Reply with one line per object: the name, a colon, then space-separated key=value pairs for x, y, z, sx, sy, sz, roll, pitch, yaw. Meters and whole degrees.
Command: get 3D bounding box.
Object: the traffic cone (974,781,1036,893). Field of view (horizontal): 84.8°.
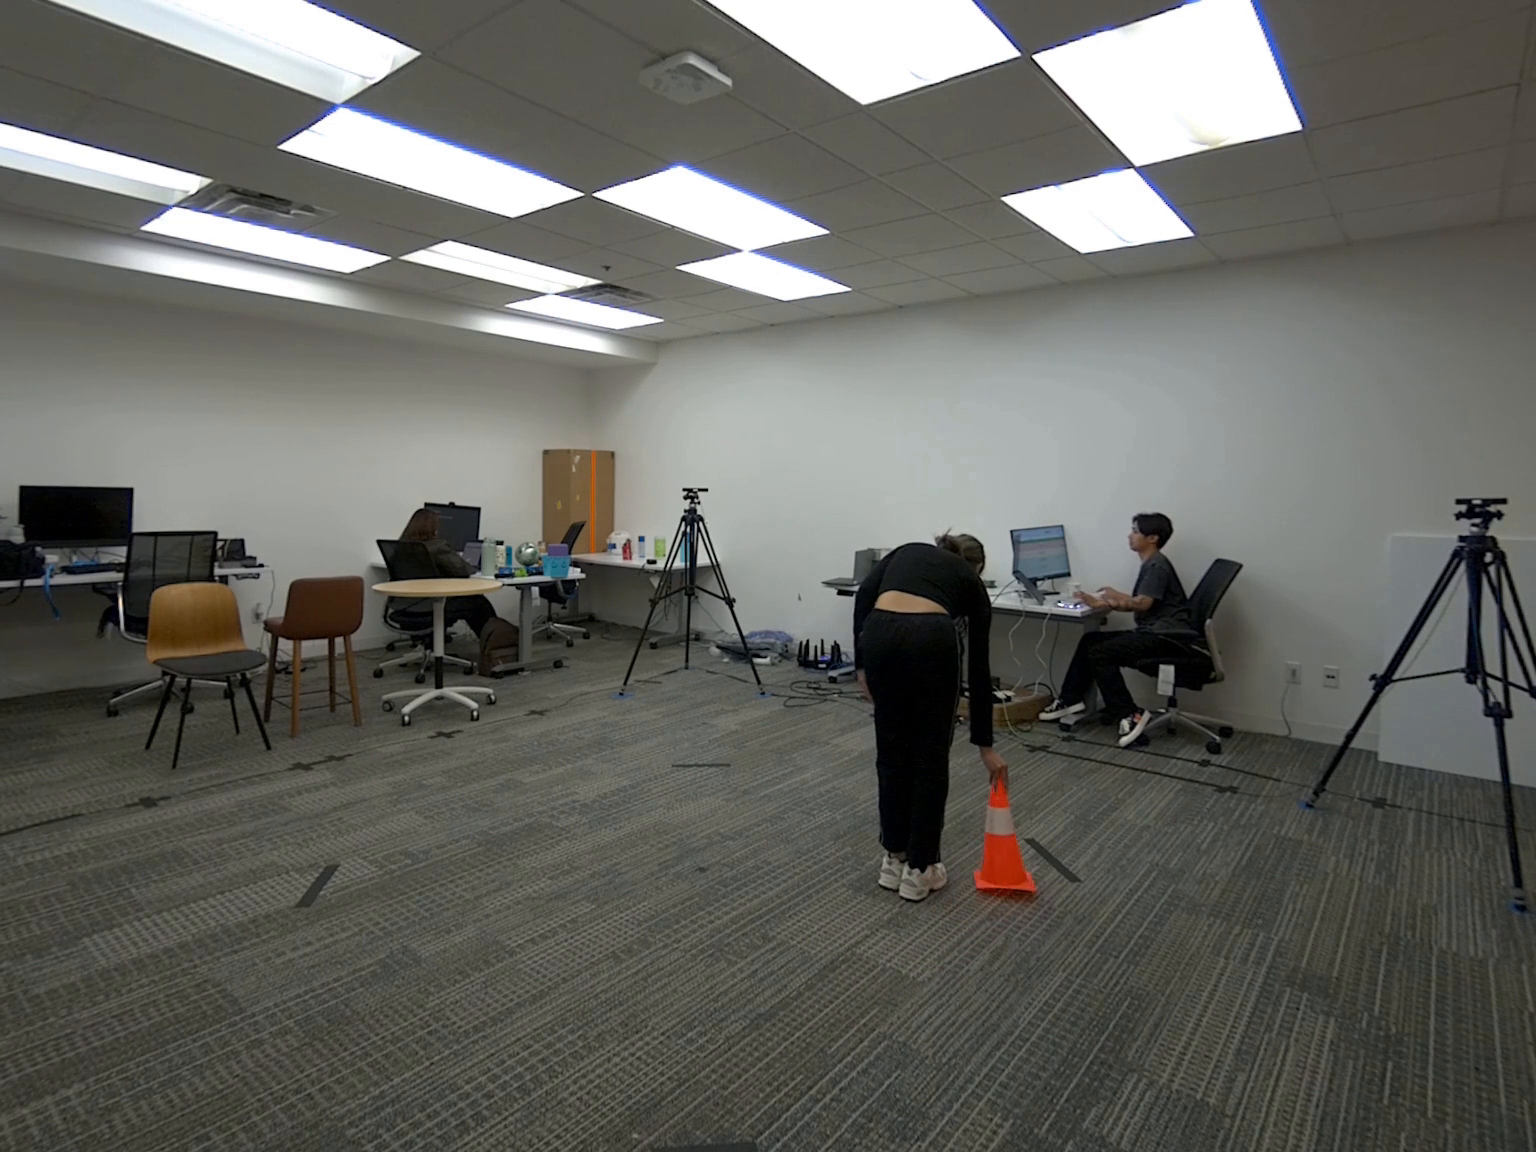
traffic cone: x=0.828 y=0.894 z=3.048 sx=0.207 sy=0.385 sz=0.200 roll=-1 pitch=-3 yaw=9
